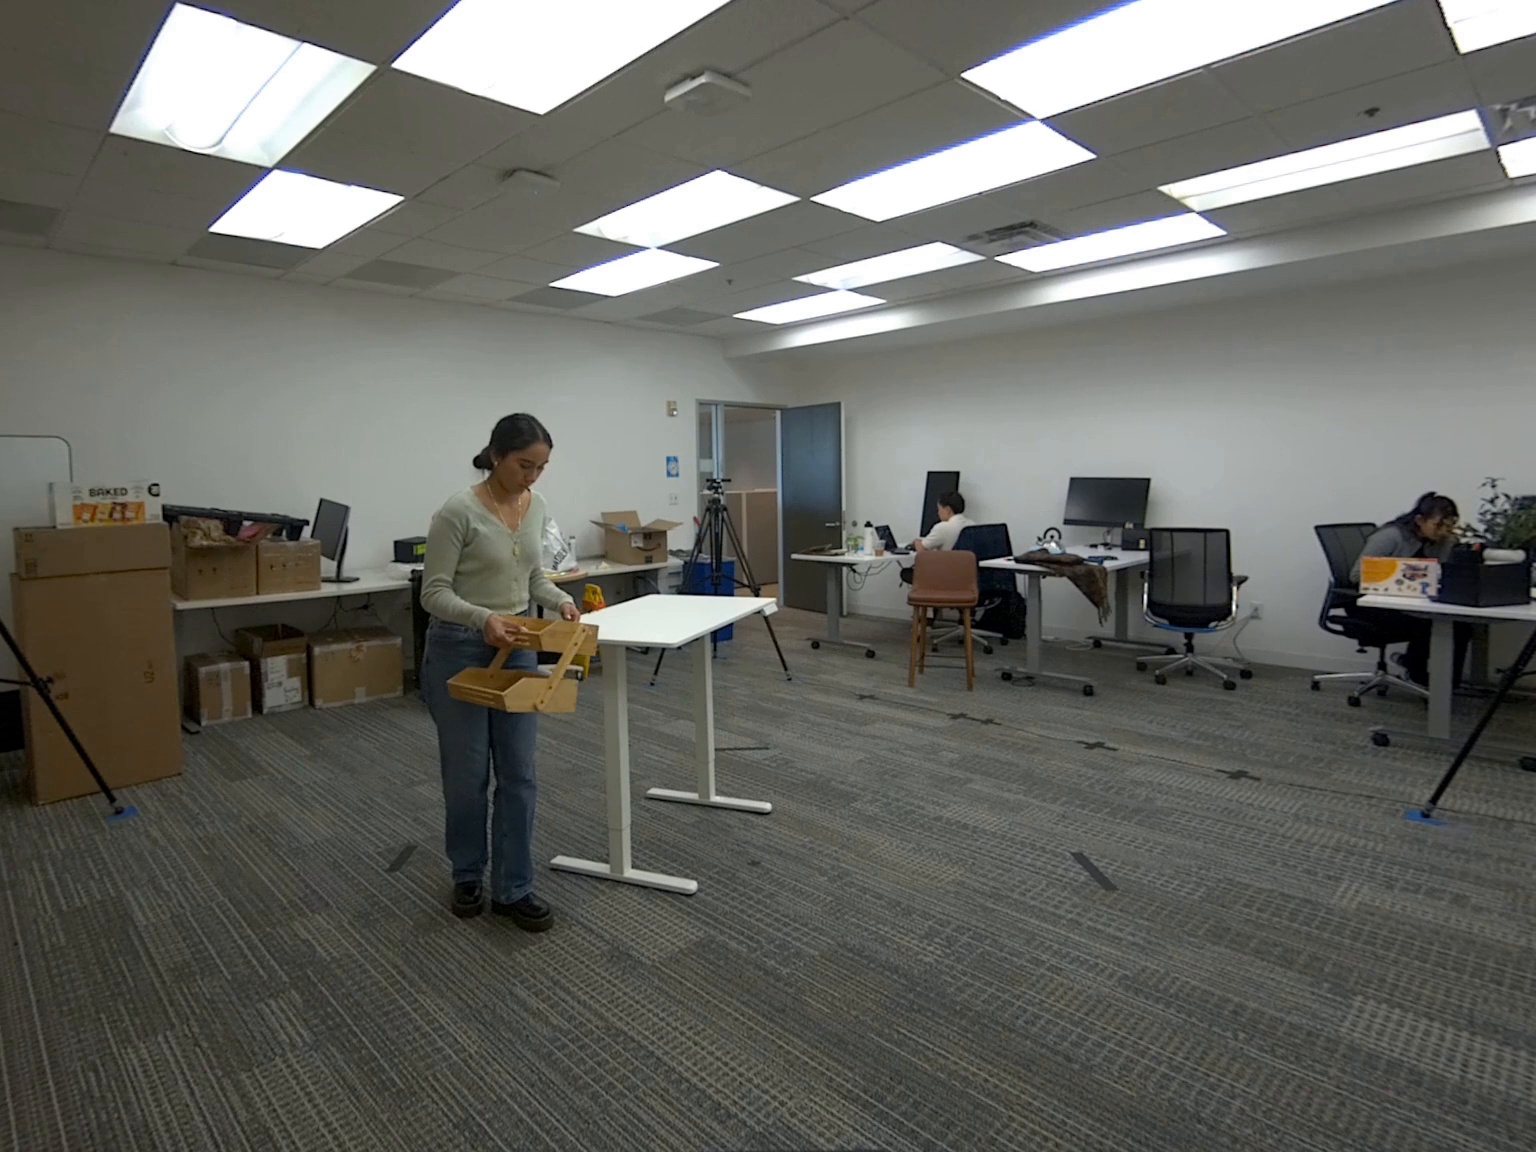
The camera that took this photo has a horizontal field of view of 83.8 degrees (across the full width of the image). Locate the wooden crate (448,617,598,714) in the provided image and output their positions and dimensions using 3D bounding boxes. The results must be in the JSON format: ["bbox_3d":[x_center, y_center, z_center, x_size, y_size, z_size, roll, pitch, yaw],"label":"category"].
[{"bbox_3d":[-0.724,0.247,2.530,0.334,0.275,0.292,0,-9,41],"label":"wooden crate"}]
